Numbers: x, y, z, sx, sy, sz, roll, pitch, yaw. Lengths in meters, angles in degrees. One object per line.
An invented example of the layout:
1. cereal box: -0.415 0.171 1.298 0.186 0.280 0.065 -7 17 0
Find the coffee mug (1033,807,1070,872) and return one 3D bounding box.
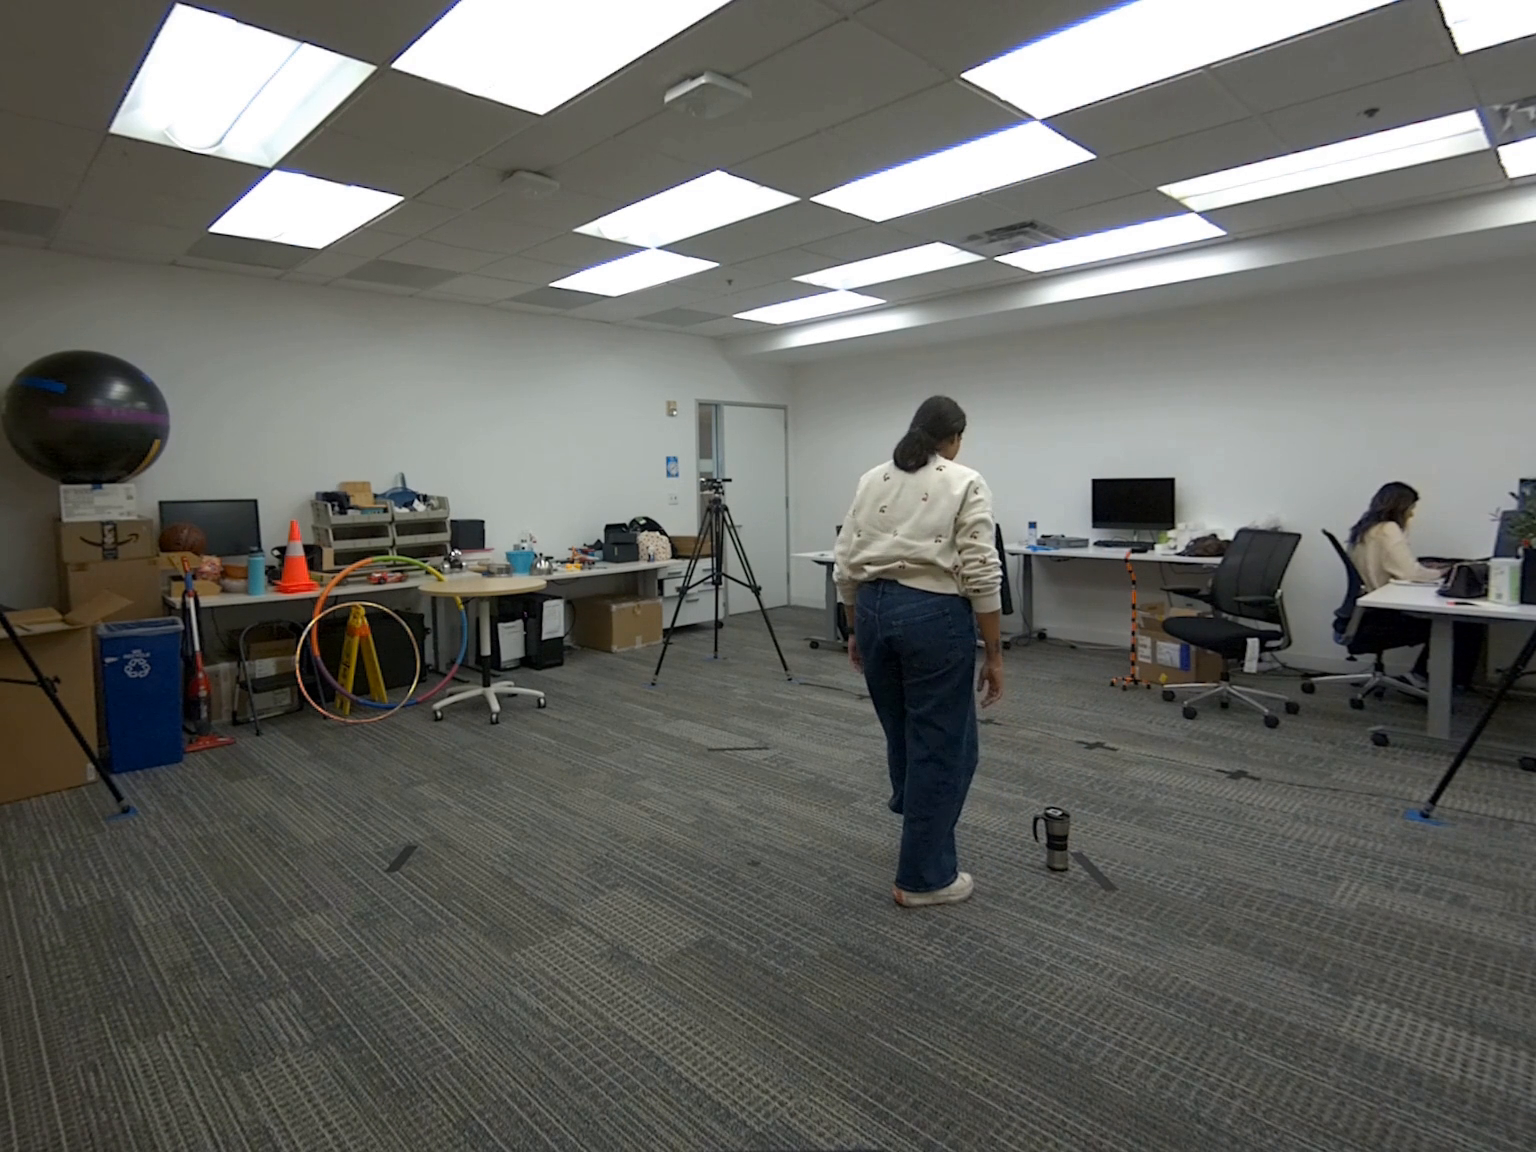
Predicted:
1. coffee mug: 1.008 0.931 3.033 0.126 0.201 0.086 8 14 43
